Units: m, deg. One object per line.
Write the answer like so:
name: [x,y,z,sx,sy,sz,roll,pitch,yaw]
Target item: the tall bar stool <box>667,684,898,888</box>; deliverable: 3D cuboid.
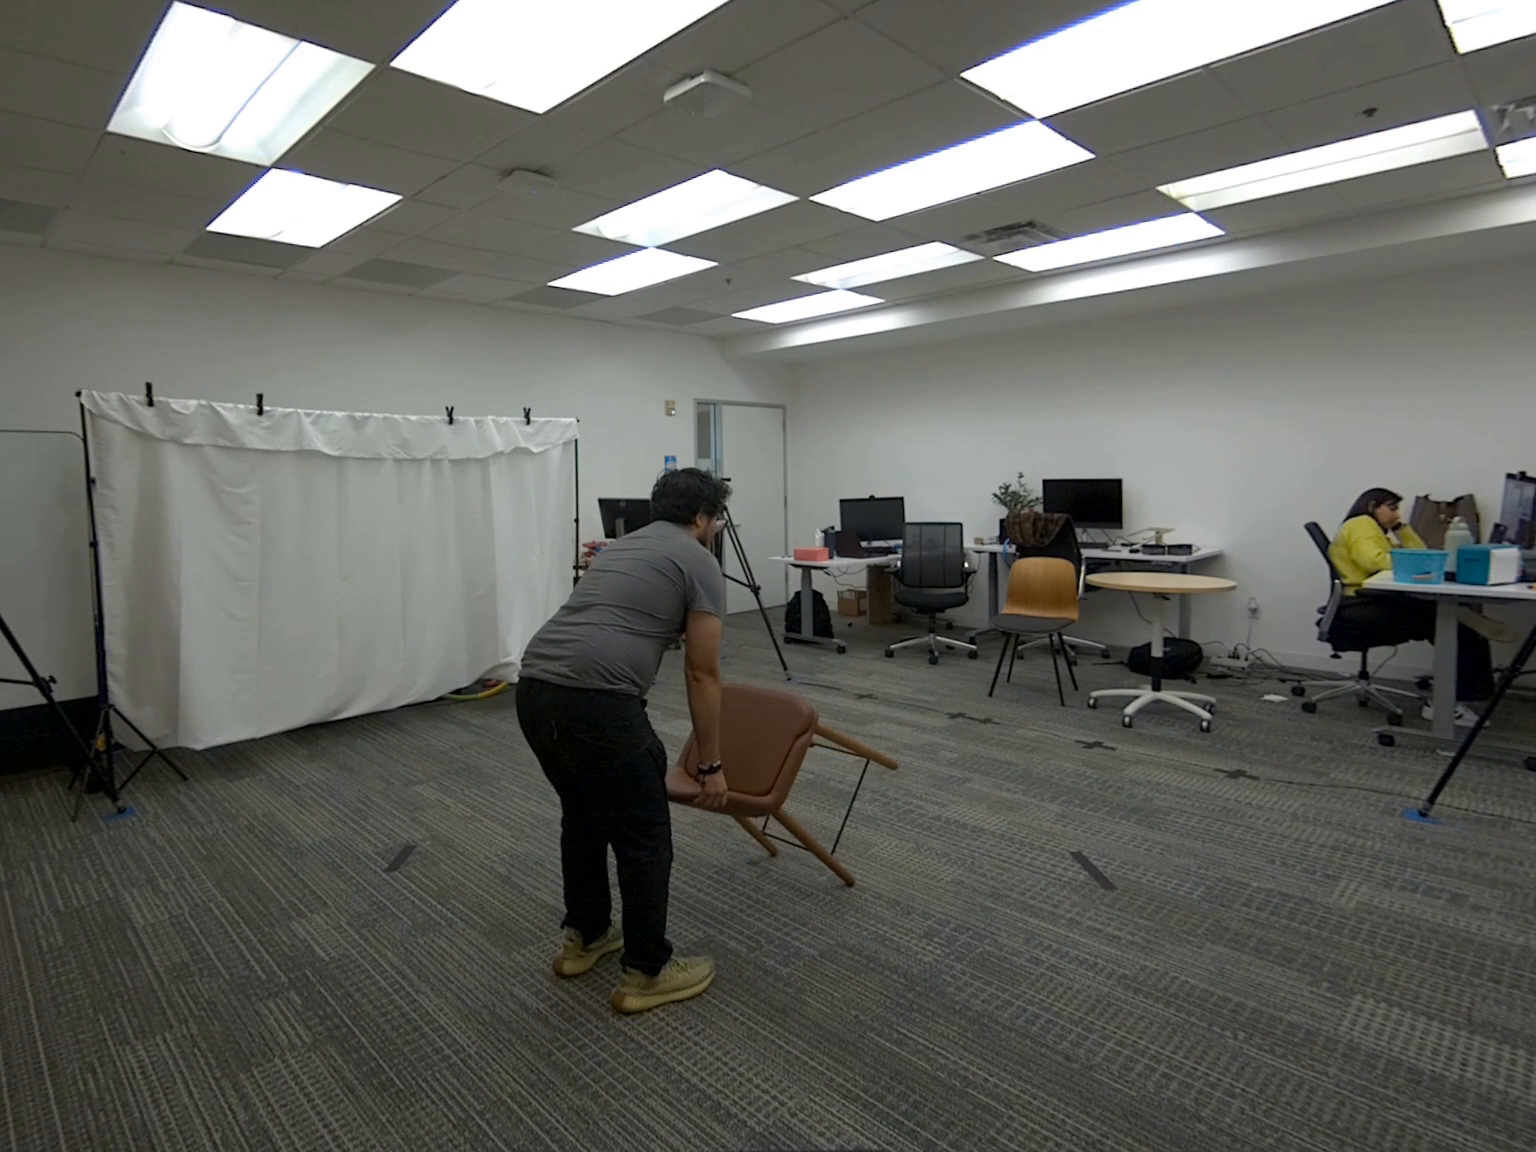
tall bar stool: [-0.003,0.643,2.859,0.471,0.471,0.855,4,-27,43]
